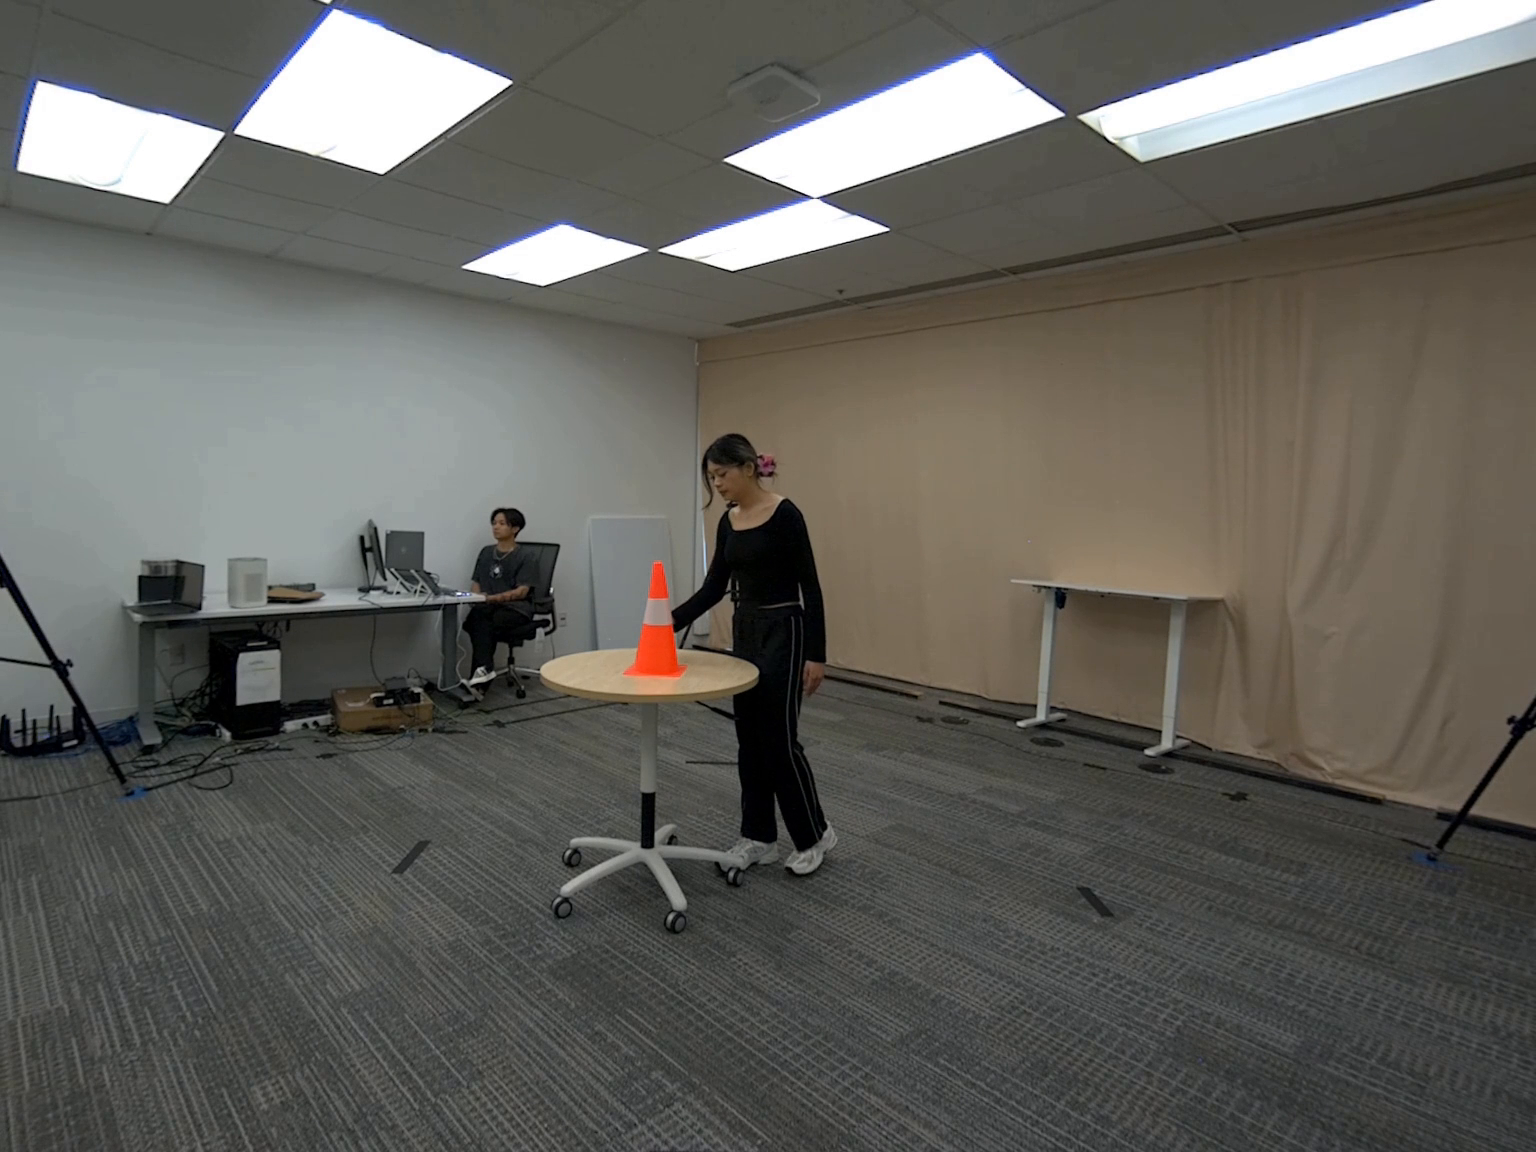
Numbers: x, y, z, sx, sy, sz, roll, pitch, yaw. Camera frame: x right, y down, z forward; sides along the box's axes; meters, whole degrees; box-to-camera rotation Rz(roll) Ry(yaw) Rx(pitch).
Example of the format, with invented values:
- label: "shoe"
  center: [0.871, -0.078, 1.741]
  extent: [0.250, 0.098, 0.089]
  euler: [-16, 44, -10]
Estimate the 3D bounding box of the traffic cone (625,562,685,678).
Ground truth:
- label: "traffic cone"
  center: [-0.396, 0.145, 2.930]
  extent: [0.204, 0.382, 0.205]
  euler: [3, 6, 5]
